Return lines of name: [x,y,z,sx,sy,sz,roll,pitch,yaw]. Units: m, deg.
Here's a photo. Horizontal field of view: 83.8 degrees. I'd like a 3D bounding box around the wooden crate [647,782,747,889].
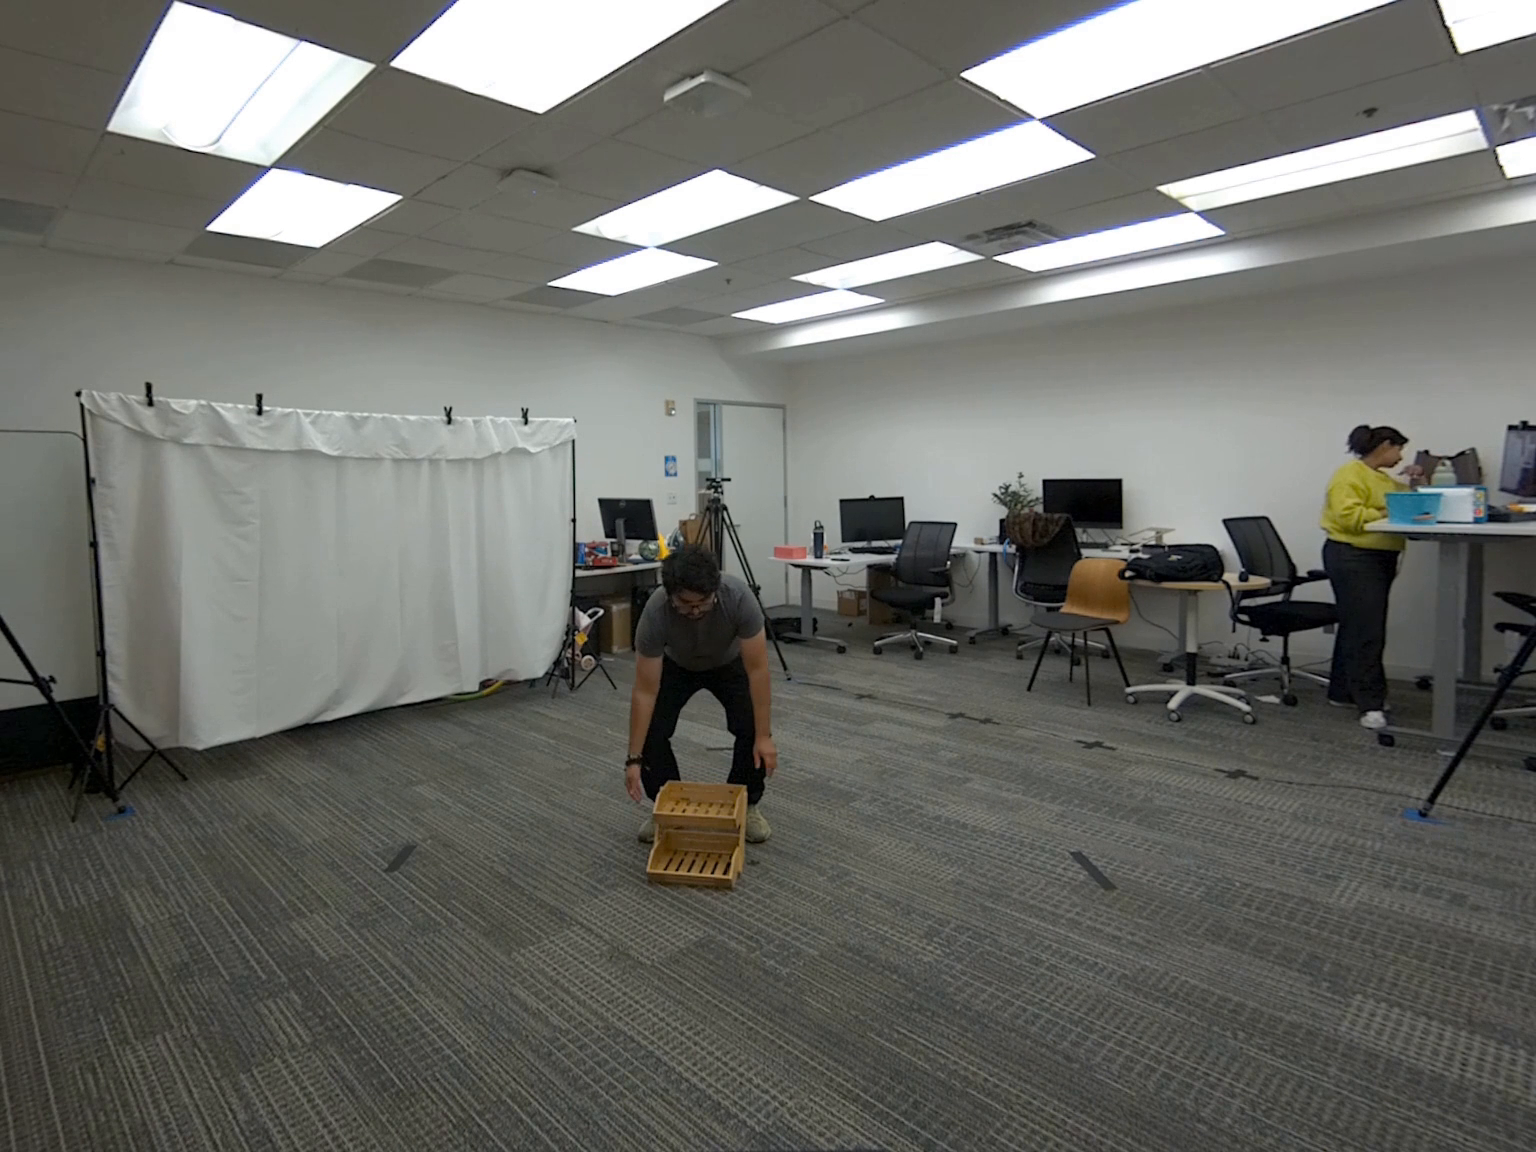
wooden crate: [-0.251,0.928,3.042,0.328,0.272,0.300,0,5,9]
